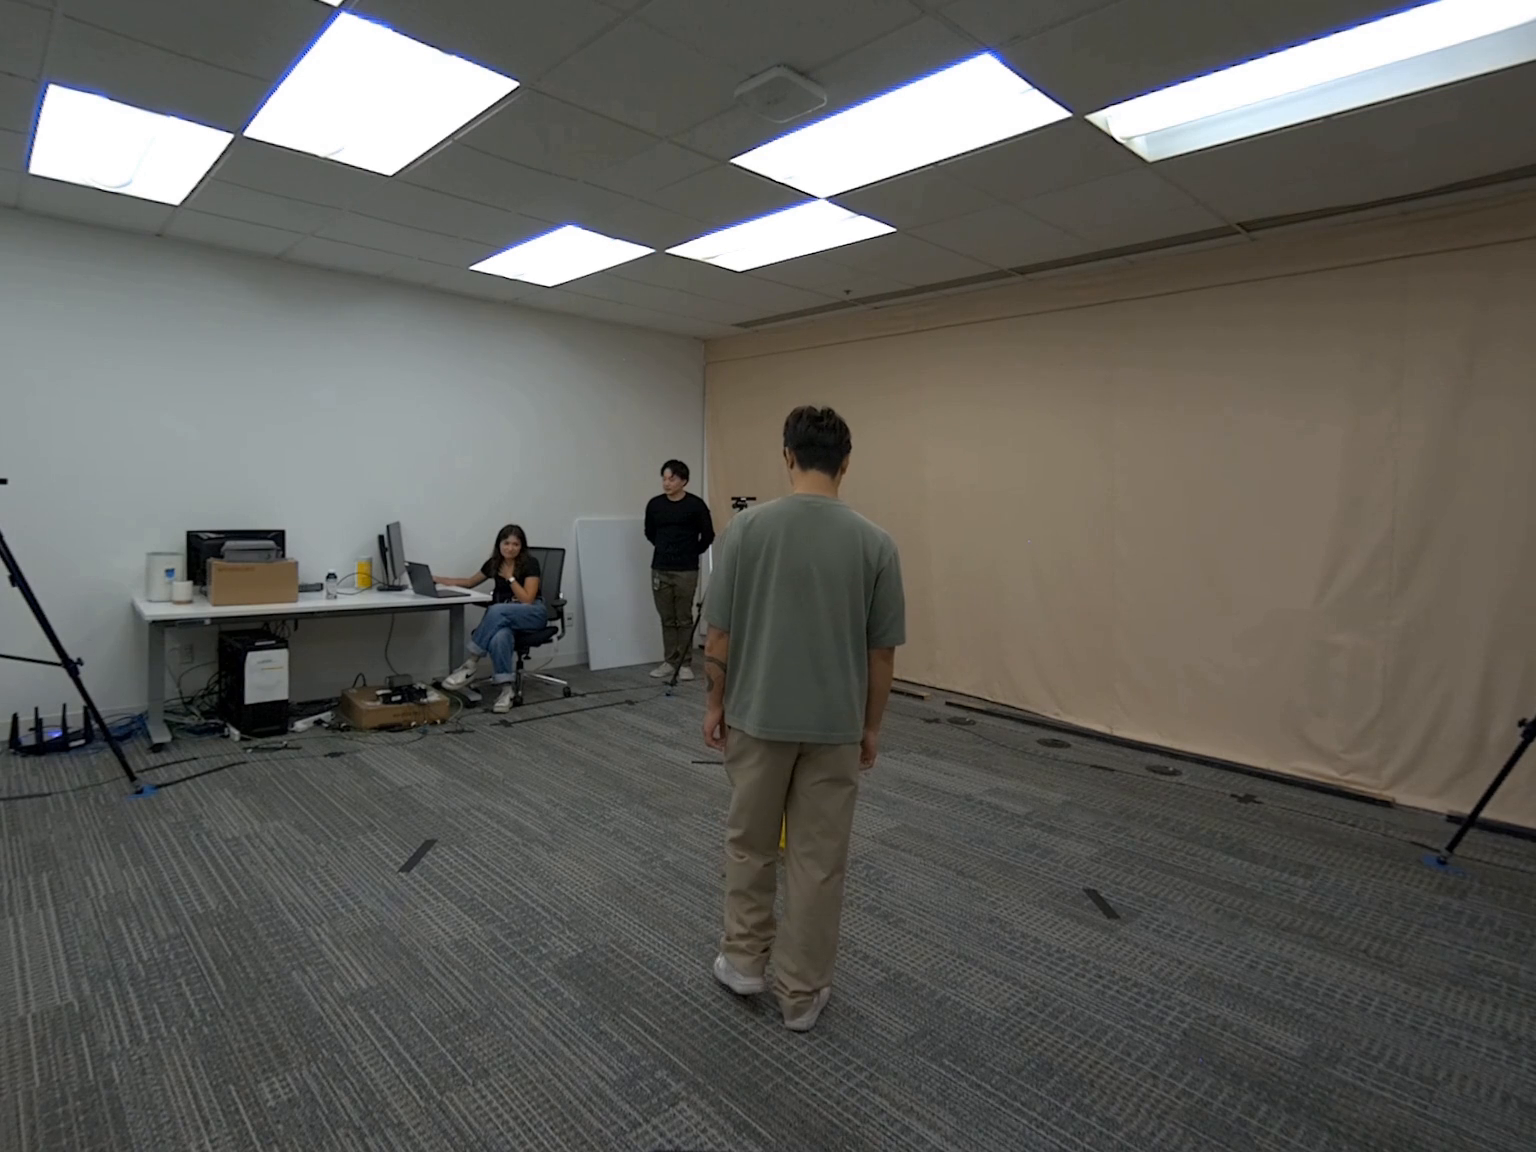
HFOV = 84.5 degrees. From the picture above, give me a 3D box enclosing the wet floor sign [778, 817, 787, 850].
[{"bbox_3d":[0.013,0.773,3.308,0.284,0.645,0.288,2,2,9],"label":"wet floor sign"}]
